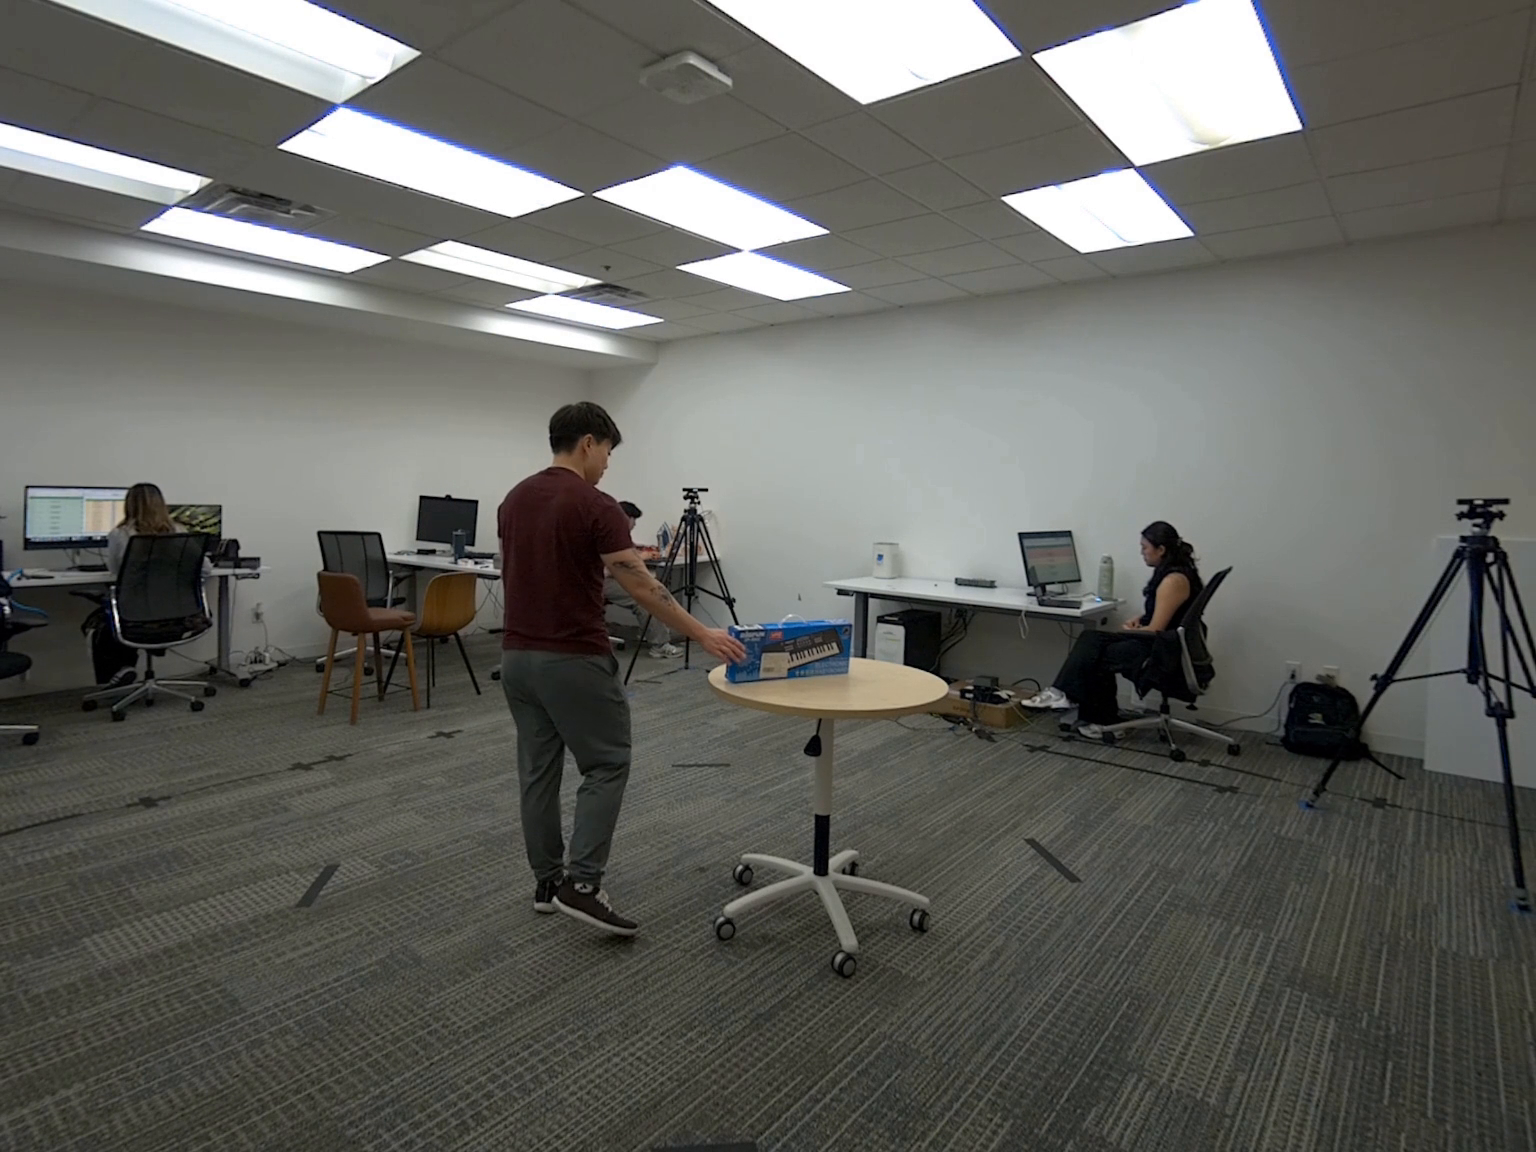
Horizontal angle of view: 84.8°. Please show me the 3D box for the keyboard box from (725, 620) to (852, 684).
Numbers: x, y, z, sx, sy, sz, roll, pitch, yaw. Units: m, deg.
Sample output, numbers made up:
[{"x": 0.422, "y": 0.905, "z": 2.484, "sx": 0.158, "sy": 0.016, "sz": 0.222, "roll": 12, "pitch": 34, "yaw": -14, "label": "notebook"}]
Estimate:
[{"x": 0.065, "y": 0.244, "z": 2.758, "sx": 0.426, "sy": 0.174, "sz": 0.061, "roll": -2, "pitch": 12, "yaw": -26, "label": "keyboard box"}]
